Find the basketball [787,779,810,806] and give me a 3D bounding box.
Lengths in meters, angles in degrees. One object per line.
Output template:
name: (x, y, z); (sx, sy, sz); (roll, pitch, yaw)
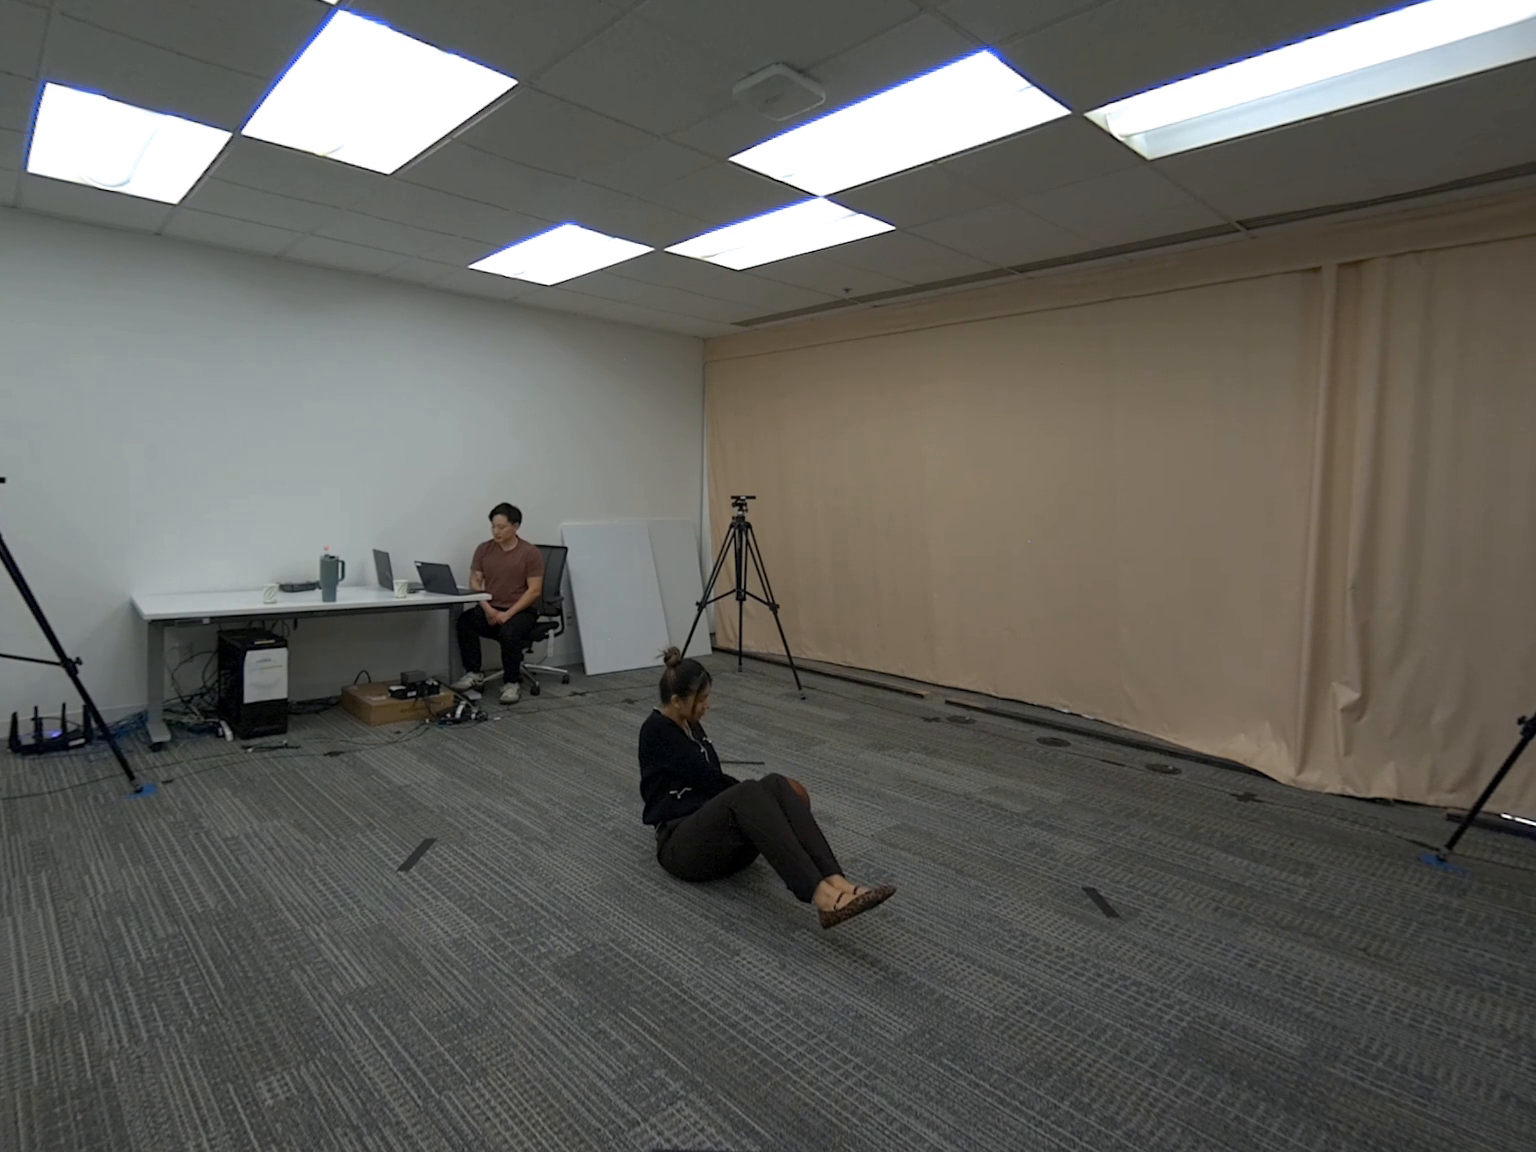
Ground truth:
basketball: (0.051, 0.959, 3.492); (0.236, 0.235, 0.237); (1, 4, -1)
